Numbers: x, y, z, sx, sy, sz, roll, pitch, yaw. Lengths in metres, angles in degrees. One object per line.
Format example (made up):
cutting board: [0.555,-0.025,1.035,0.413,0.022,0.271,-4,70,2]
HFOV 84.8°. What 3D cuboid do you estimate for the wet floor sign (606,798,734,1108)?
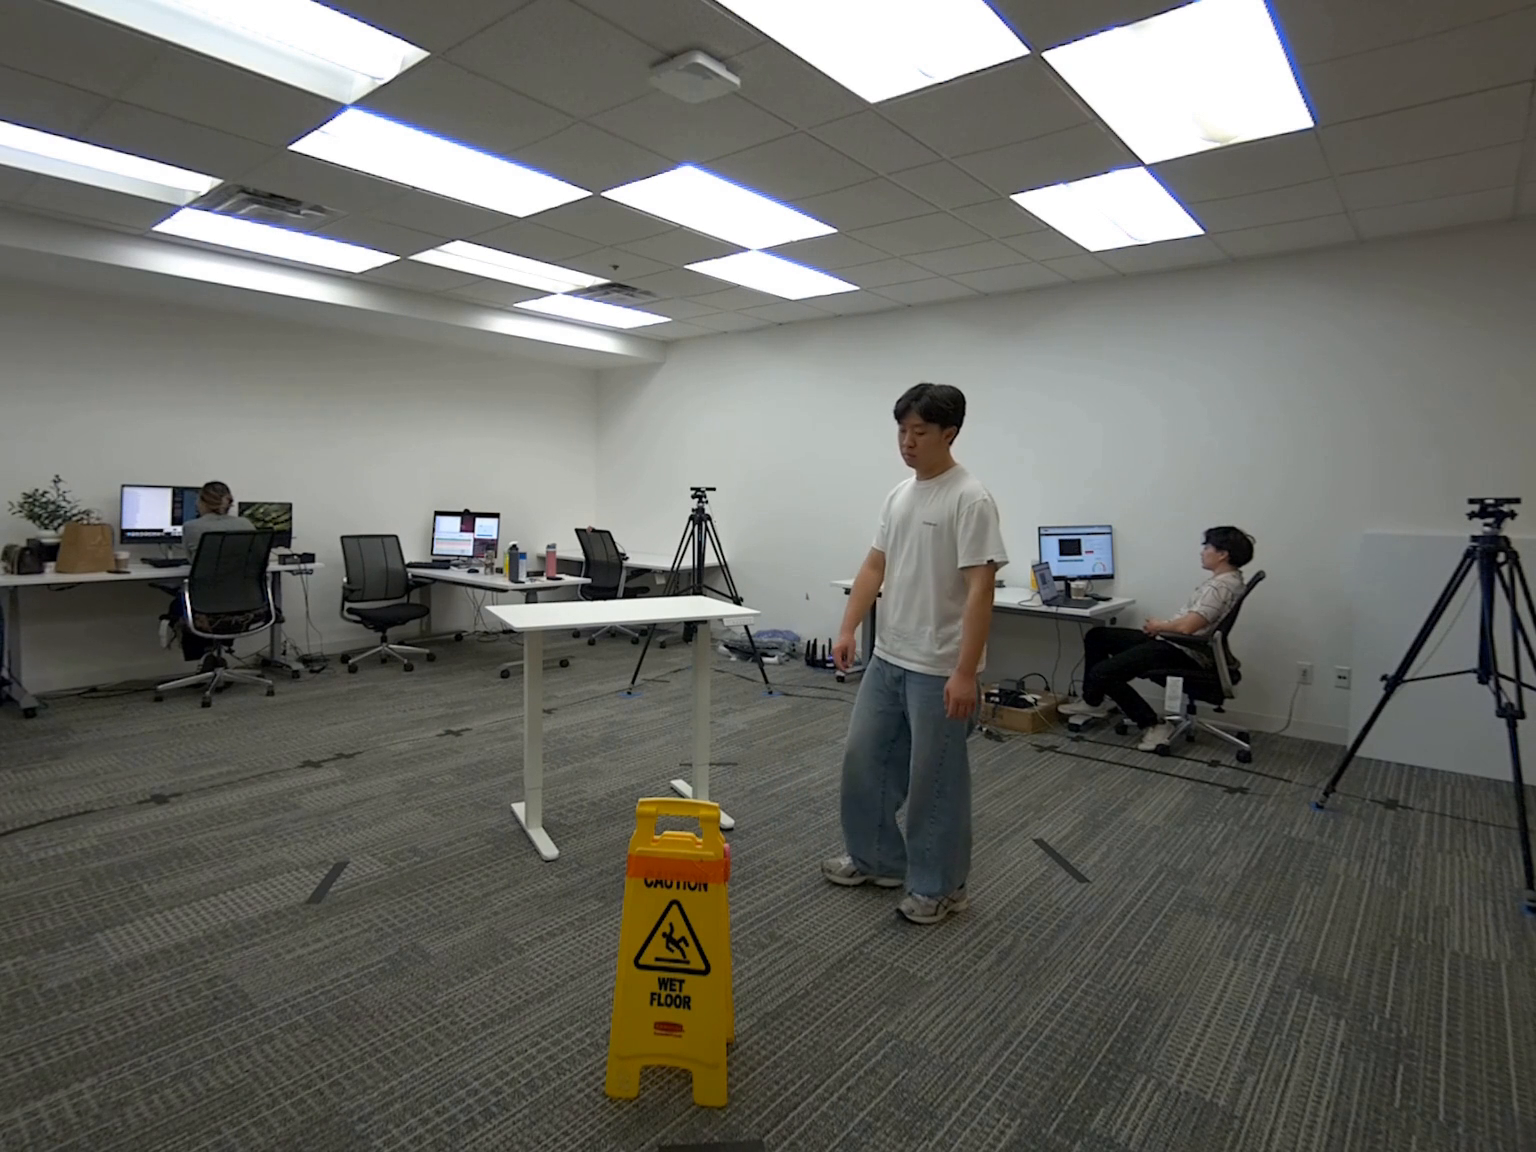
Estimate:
wet floor sign: [-0.223,0.848,2.016,0.283,0.644,0.289,1,3,2]
